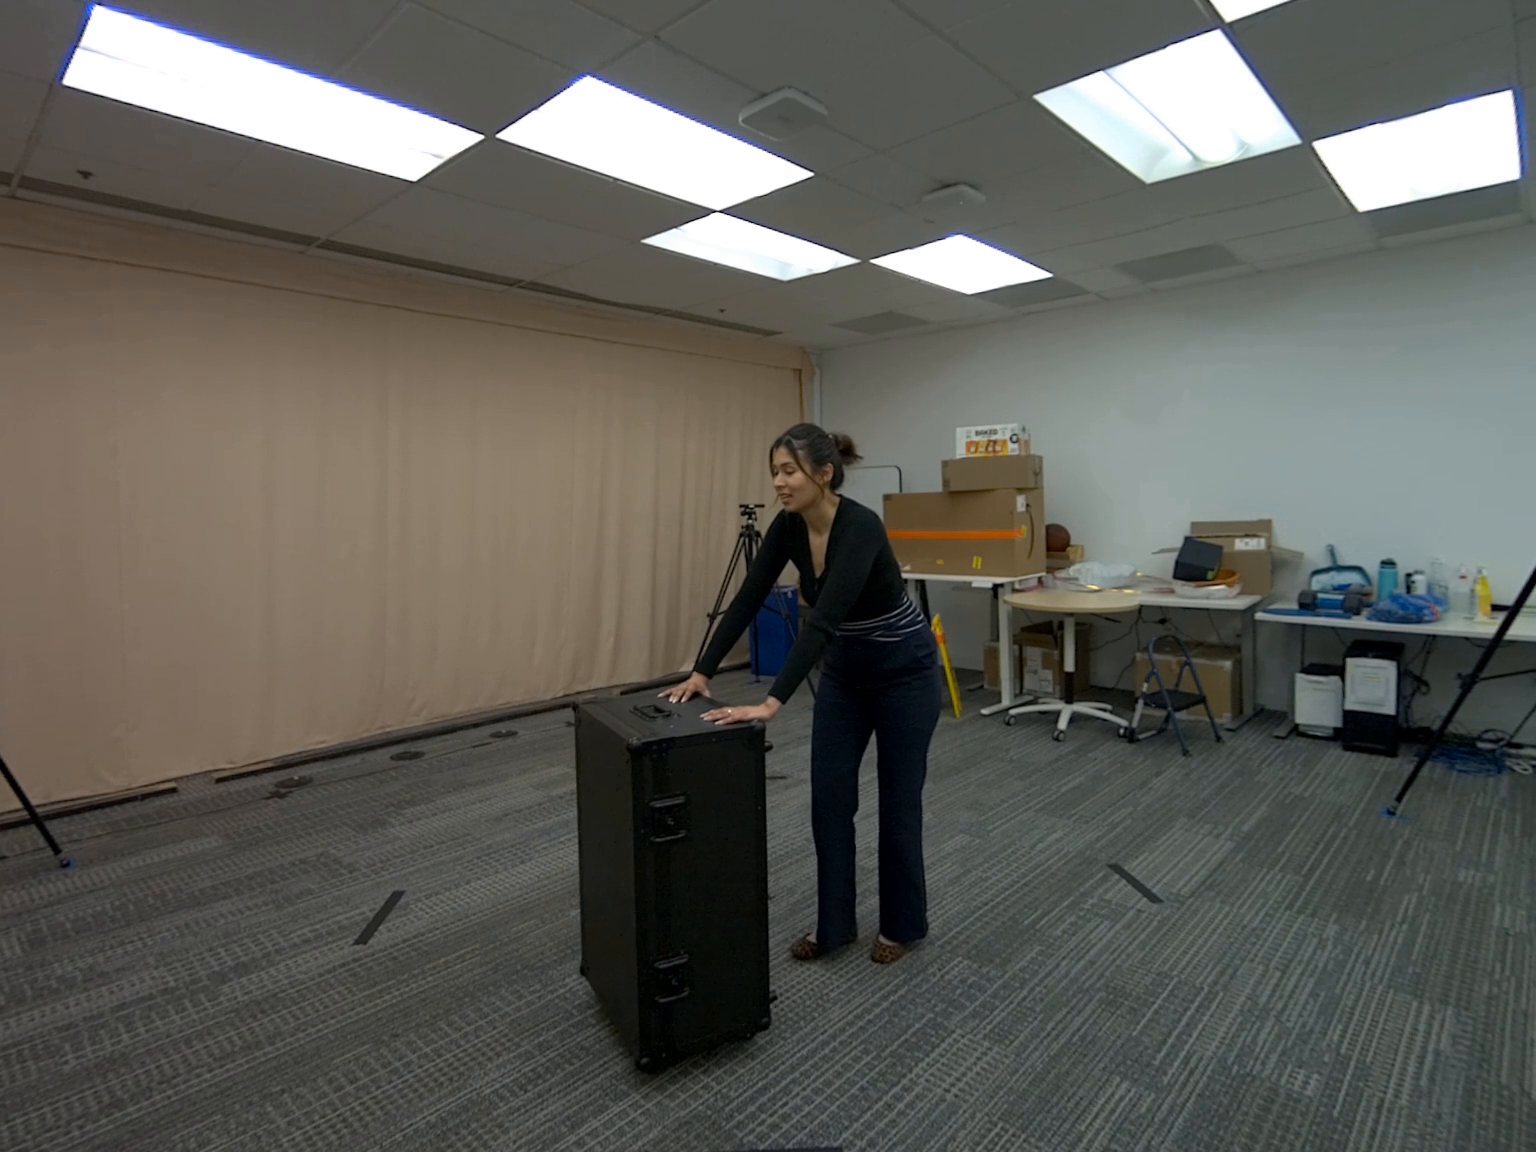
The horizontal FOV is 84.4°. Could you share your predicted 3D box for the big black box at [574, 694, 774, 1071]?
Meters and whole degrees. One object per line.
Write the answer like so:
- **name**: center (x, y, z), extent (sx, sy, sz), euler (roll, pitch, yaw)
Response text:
- **big black box**: center (-0.259, 0.783, 2.248), extent (0.386, 0.860, 0.535), euler (-3, 3, -28)
